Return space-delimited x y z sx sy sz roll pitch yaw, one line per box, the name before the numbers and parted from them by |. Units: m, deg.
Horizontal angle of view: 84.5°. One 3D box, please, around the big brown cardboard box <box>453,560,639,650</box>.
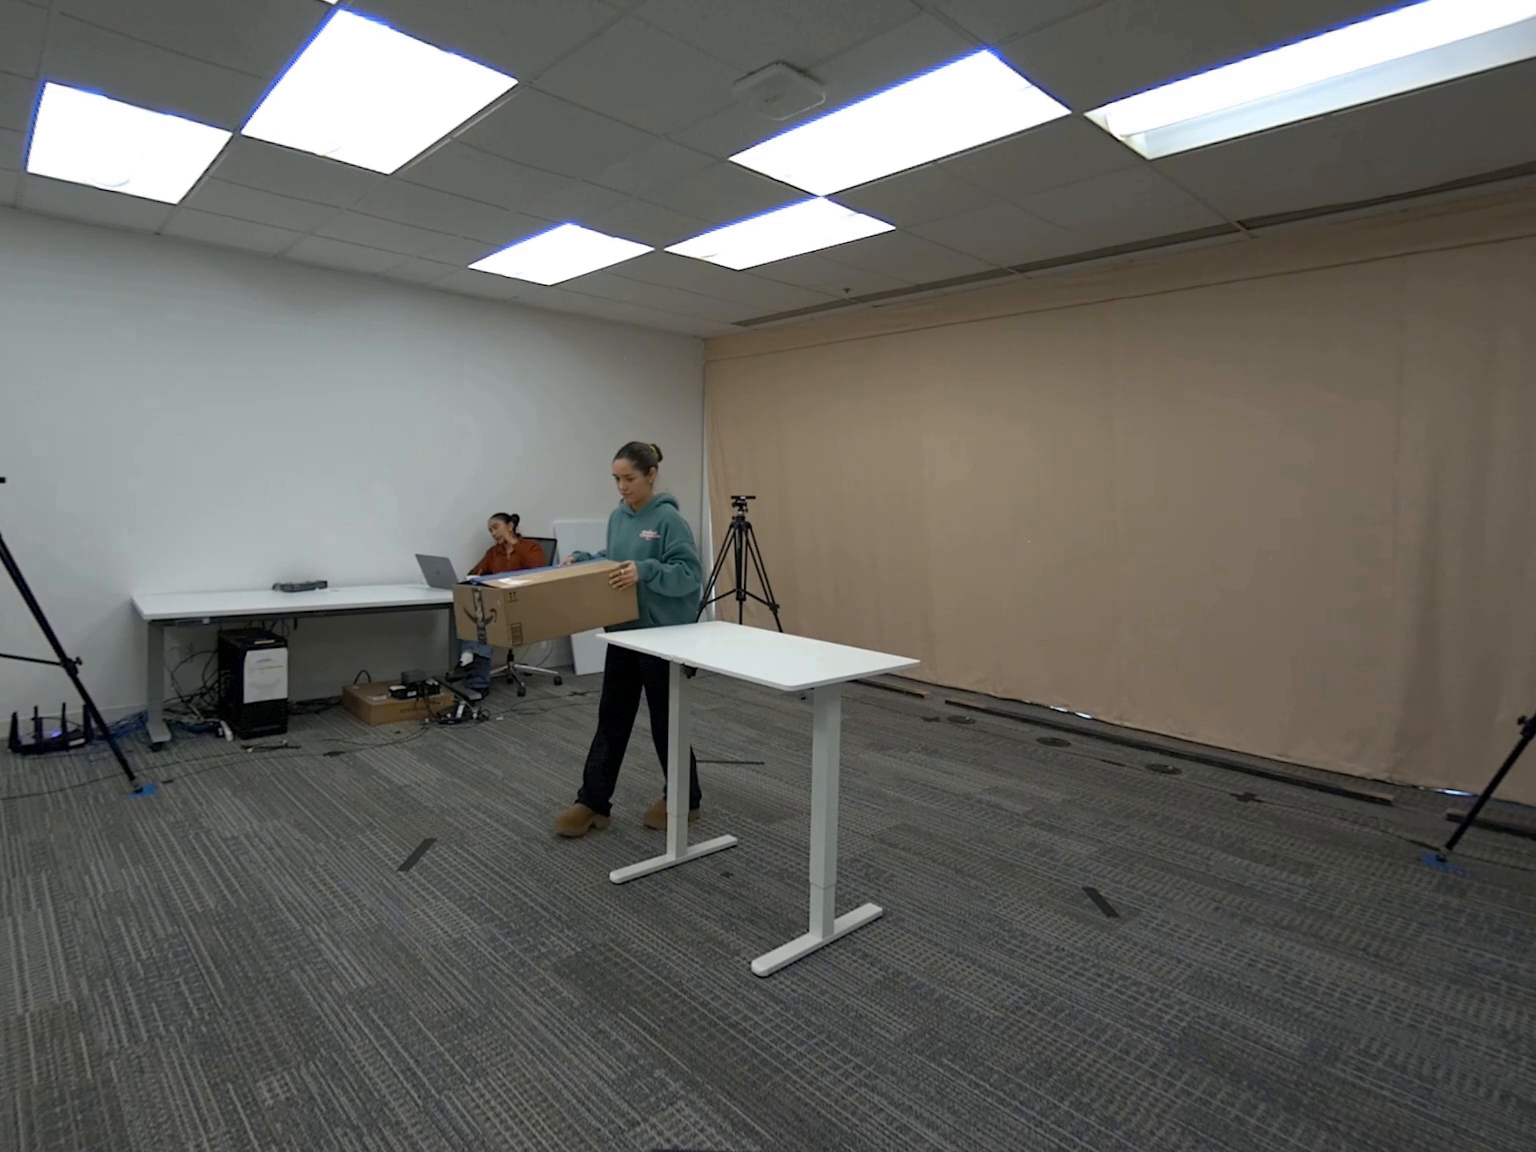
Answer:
big brown cardboard box | -0.870 0.092 3.242 0.577 0.232 0.427 -10 8 -43
